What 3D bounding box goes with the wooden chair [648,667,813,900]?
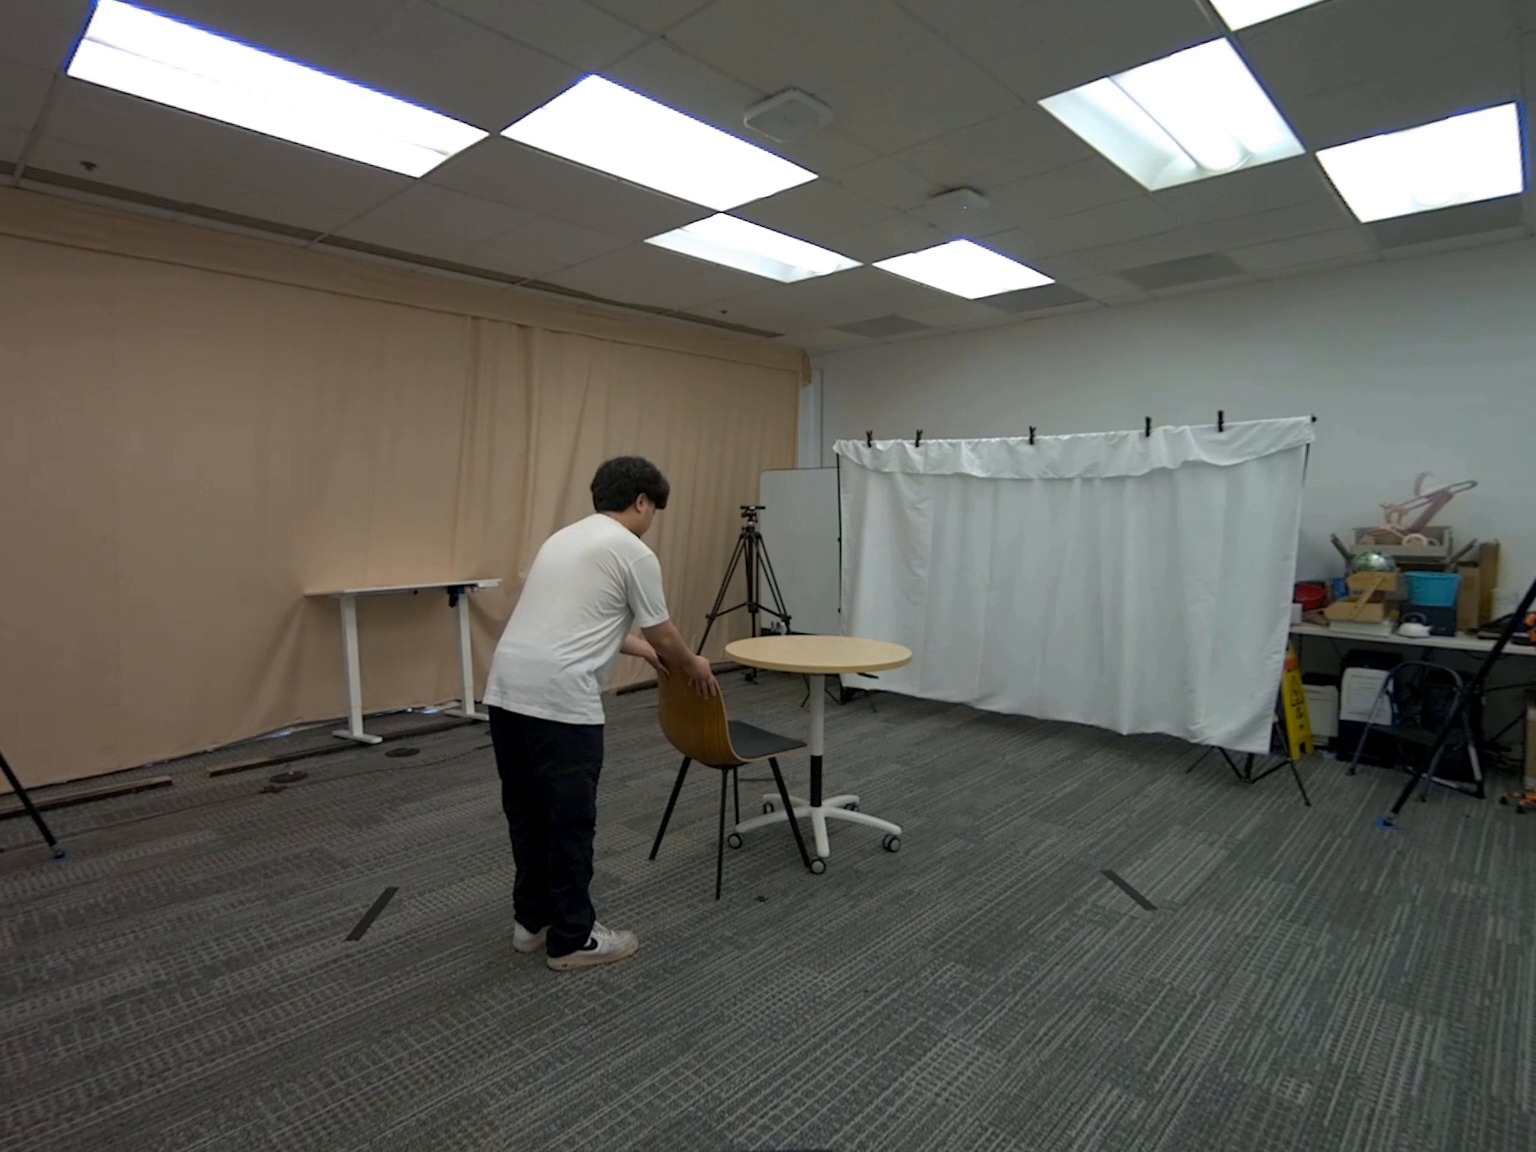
[{"bbox_3d":[-0.145,0.694,3.255,0.508,0.874,0.493,-8,6,-38],"label":"wooden chair"}]
